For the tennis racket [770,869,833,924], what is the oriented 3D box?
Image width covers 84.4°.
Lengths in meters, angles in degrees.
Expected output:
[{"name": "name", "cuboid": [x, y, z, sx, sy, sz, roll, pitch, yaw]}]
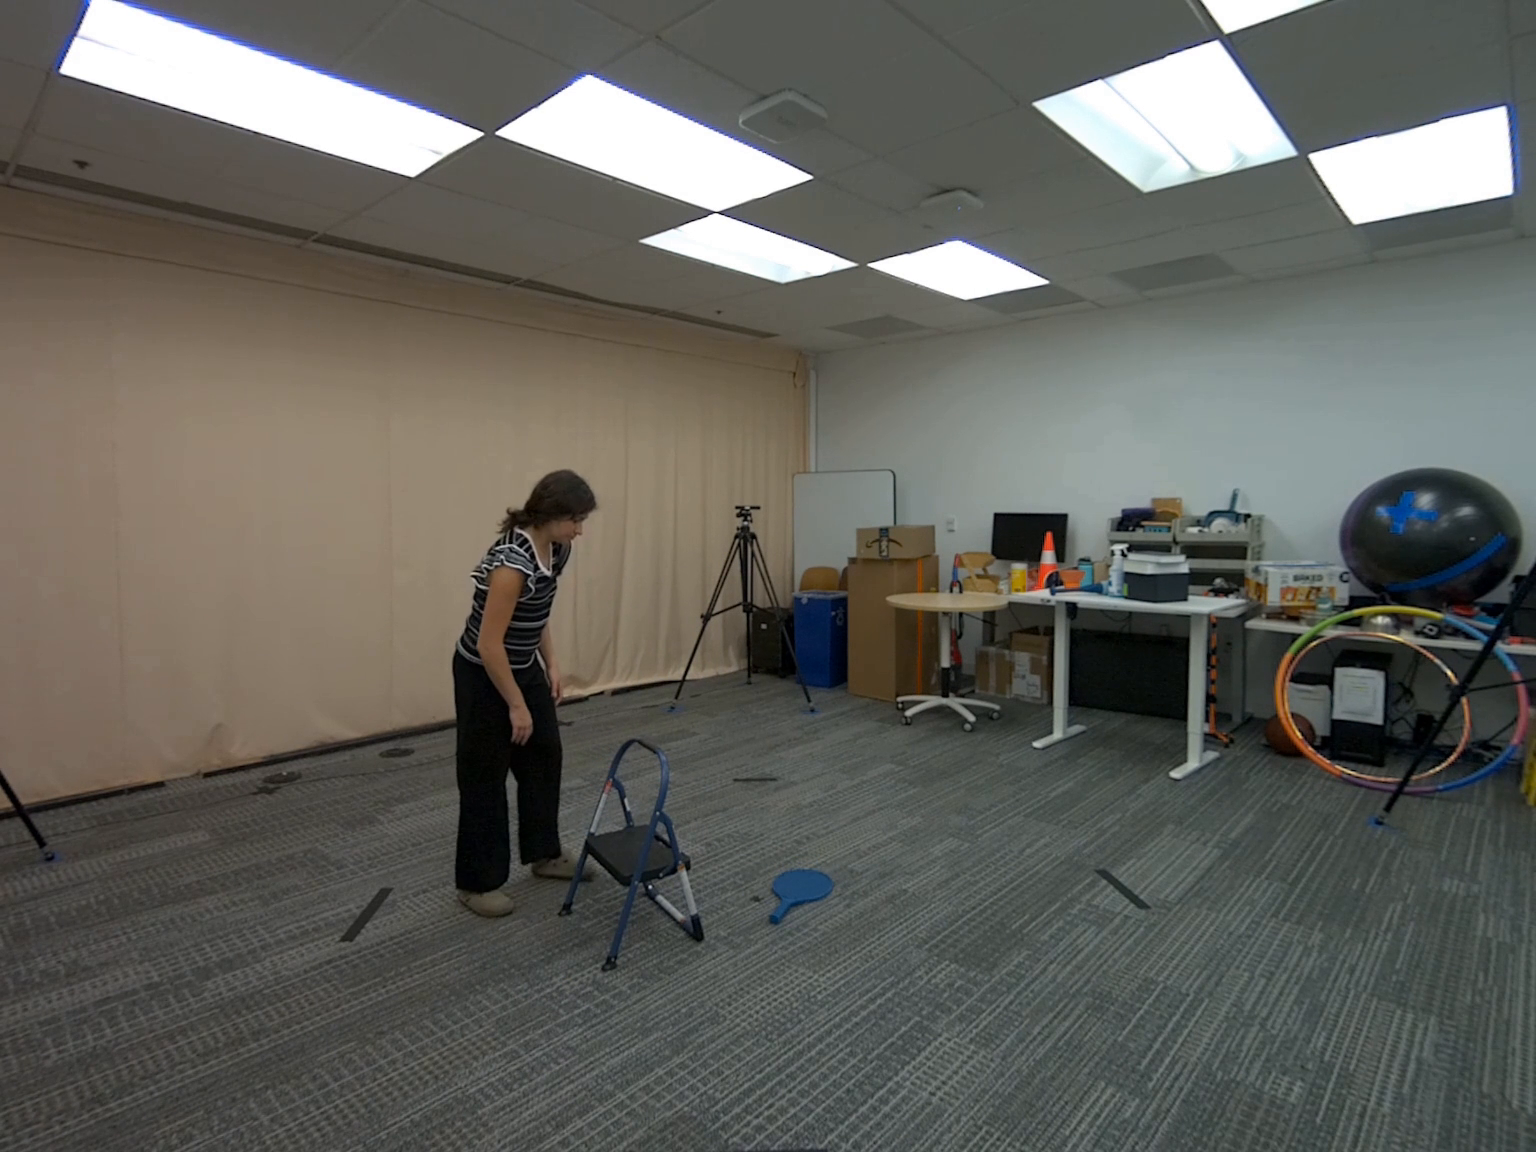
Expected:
[{"name": "tennis racket", "cuboid": [0.097, 1.130, 2.990, 0.219, 0.032, 0.423, 2, 4, 23]}]
